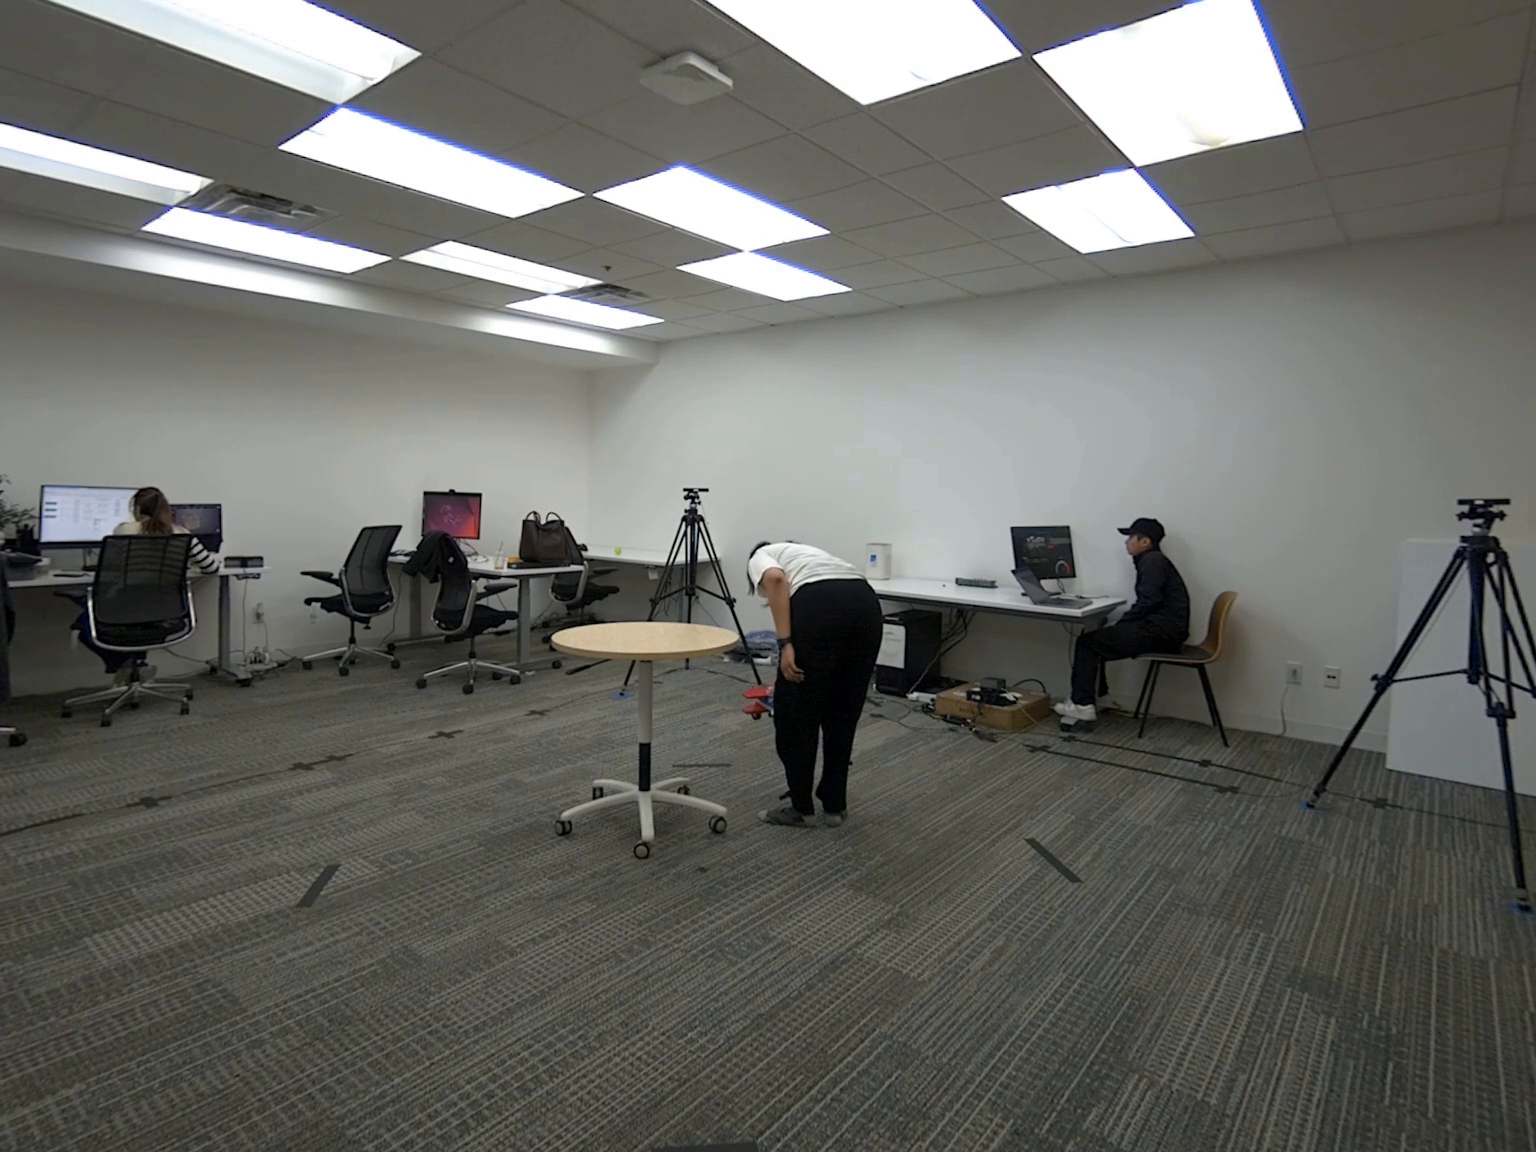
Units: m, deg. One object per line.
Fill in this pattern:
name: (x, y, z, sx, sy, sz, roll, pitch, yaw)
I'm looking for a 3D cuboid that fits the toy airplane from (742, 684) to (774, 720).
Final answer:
toy airplane: (0.019, 0.594, 3.985, 0.266, 0.157, 0.244, -5, -1, 36)
